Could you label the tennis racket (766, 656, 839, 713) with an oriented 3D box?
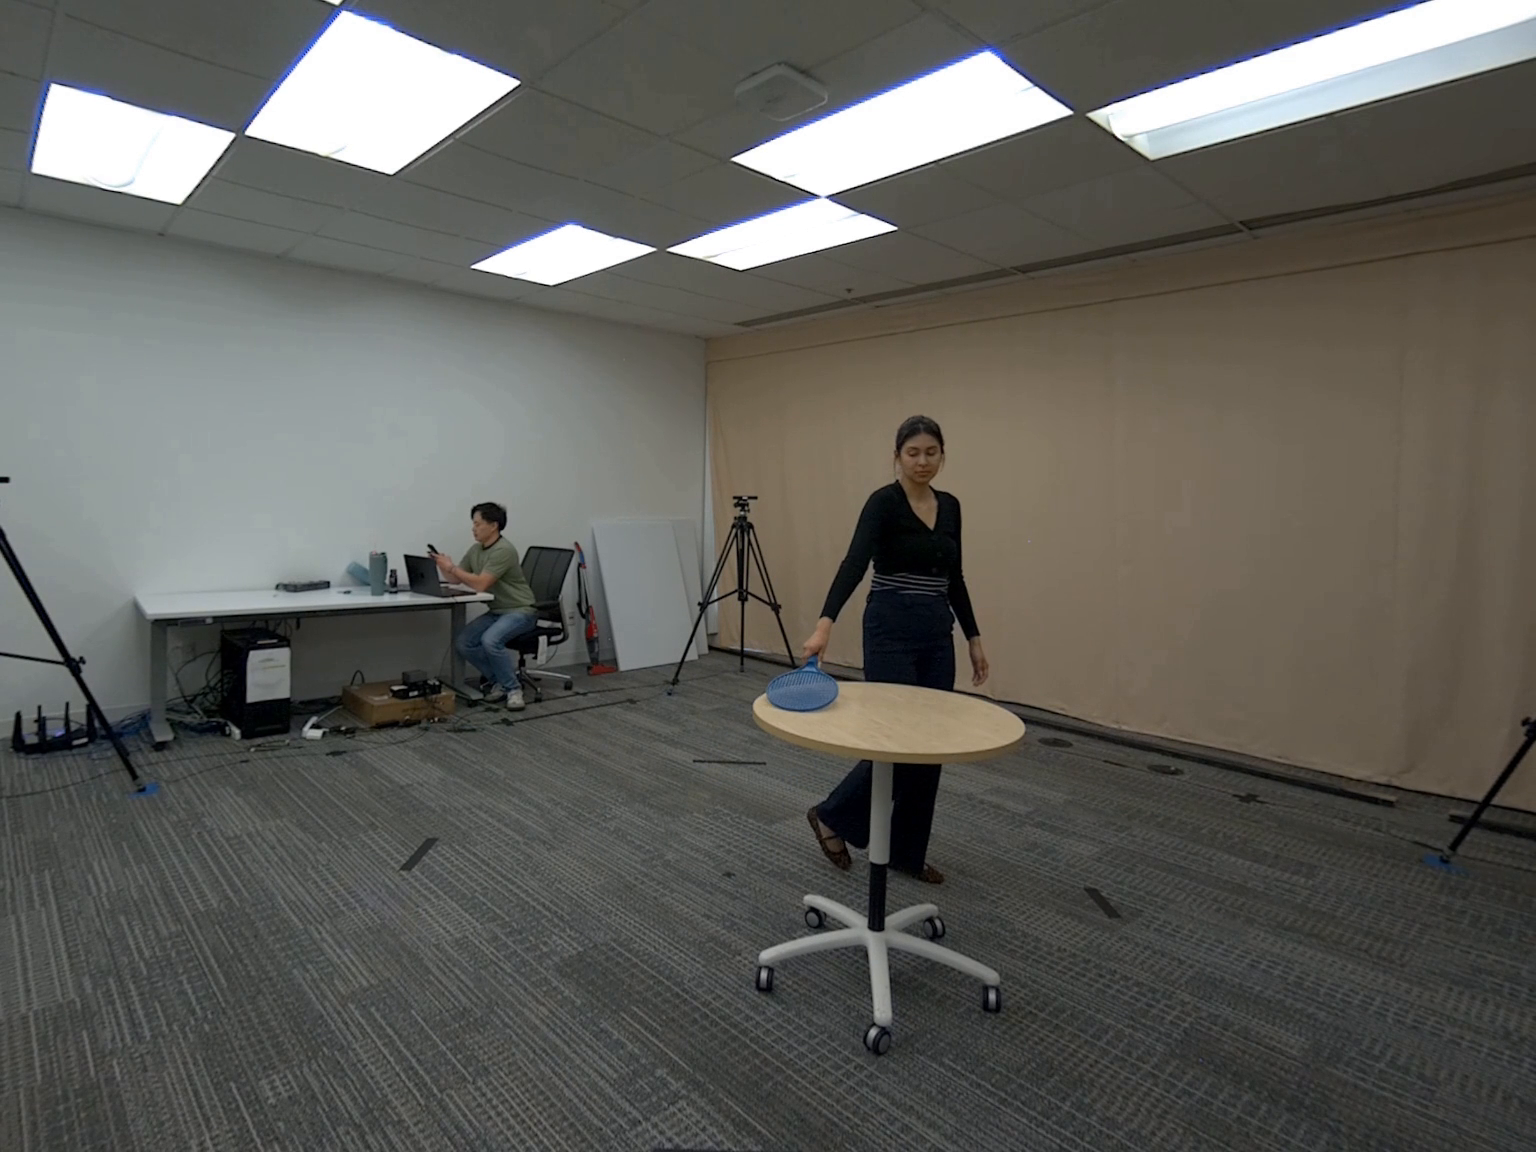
[{"bbox_3d":[0.118,0.322,2.574,0.215,0.031,0.434,0,17,9],"label":"tennis racket"}]
